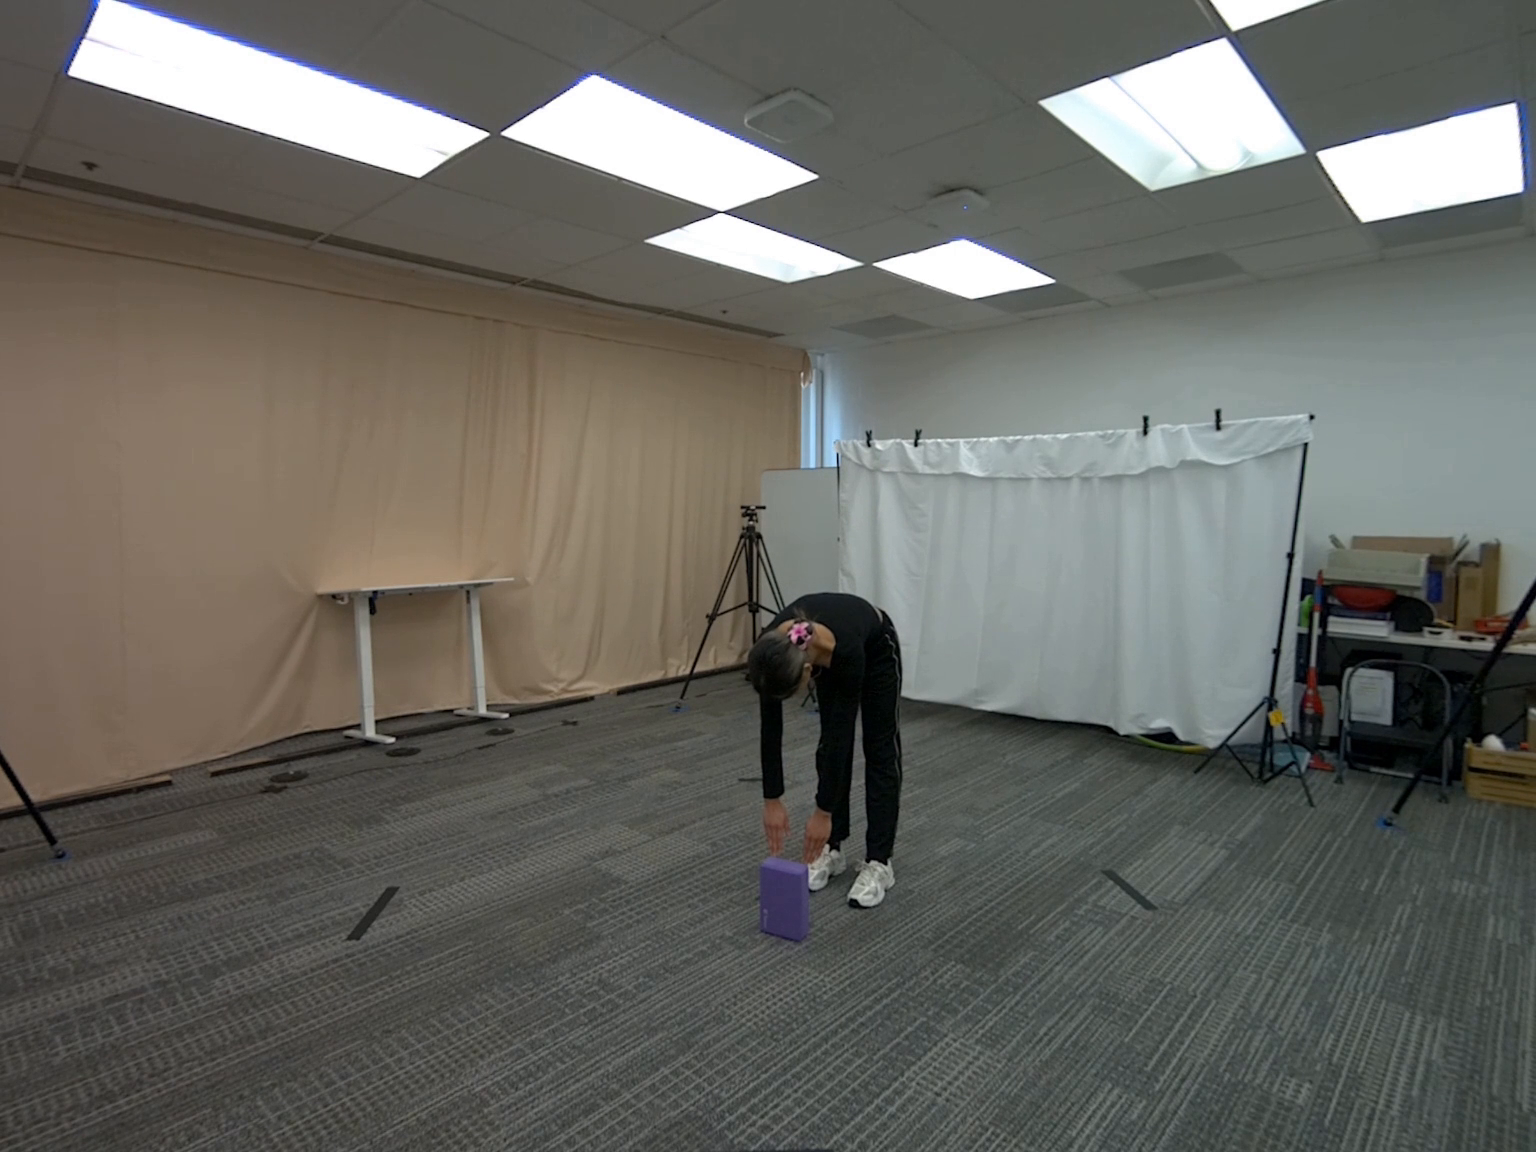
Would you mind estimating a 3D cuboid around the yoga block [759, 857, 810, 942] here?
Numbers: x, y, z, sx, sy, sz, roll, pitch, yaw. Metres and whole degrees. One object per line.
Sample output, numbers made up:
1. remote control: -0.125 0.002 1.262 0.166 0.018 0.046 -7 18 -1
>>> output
1. yoga block: 0.058 1.049 2.739 0.153 0.229 0.074 3 2 28
